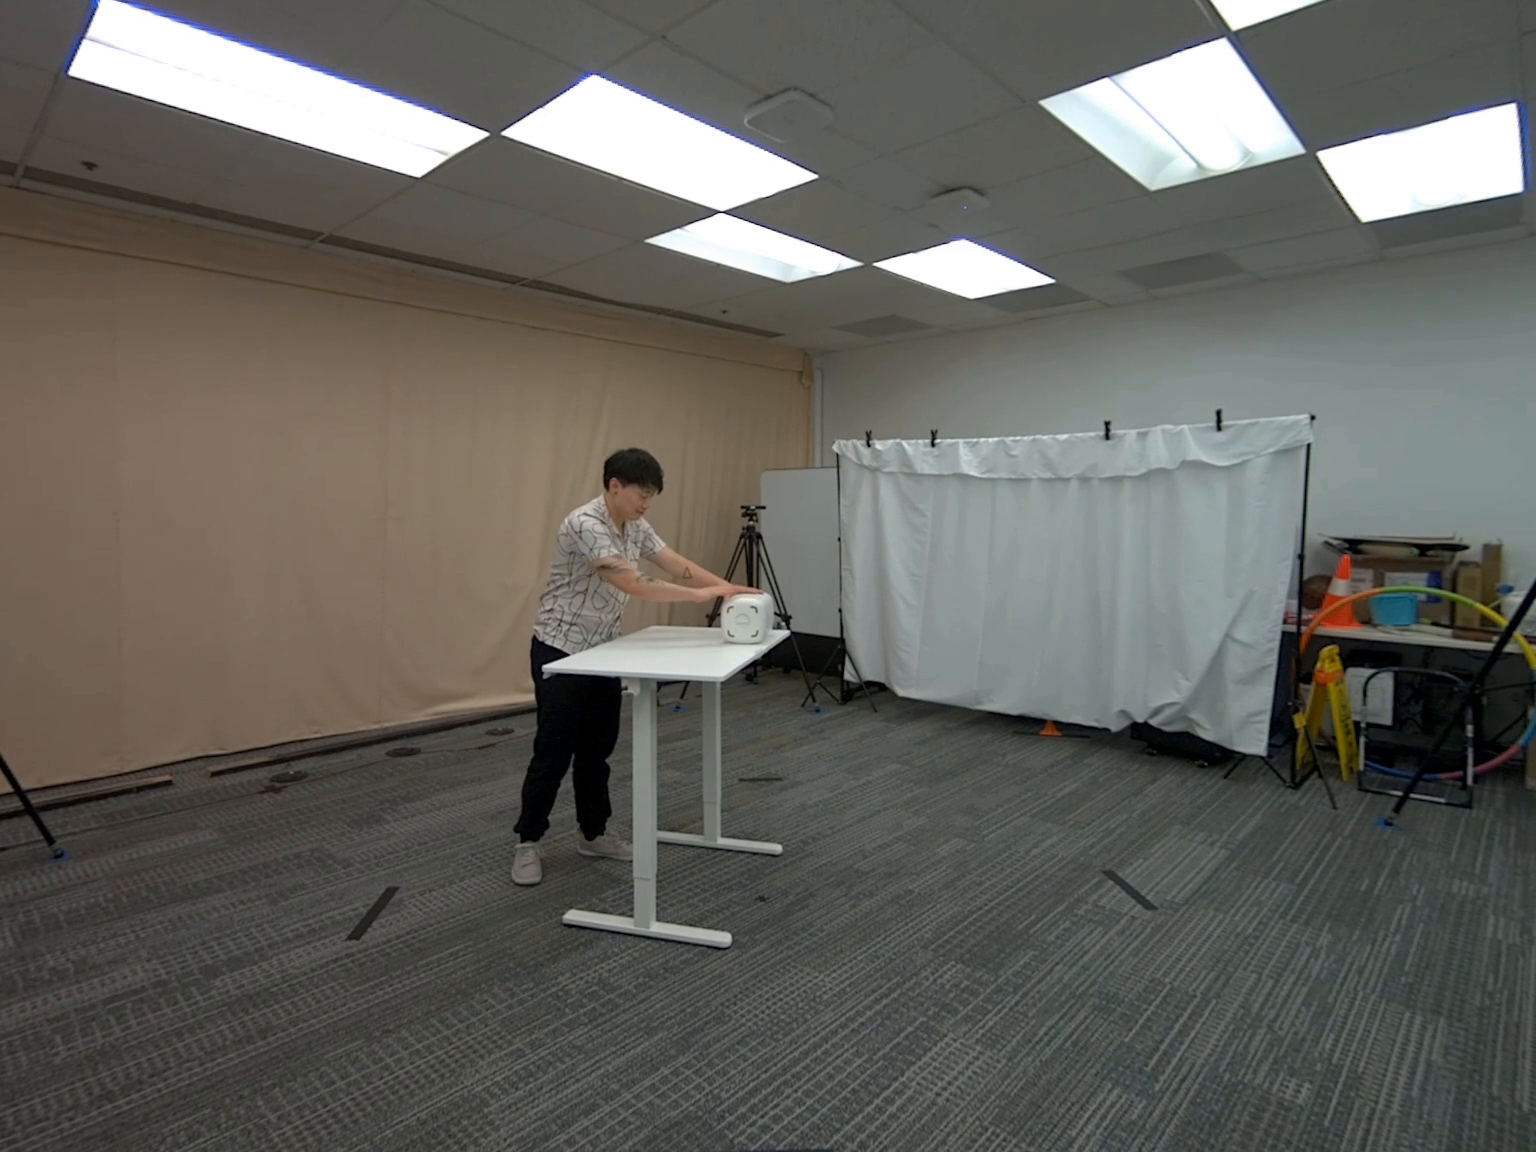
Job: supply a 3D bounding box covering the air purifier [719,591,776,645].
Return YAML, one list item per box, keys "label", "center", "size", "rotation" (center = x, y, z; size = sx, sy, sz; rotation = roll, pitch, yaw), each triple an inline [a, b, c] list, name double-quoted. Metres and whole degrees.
- label: "air purifier"
  center: [-0.075, 0.159, 3.212]
  size: [0.173, 0.171, 0.263]
  rotation: [0, 4, 9]
